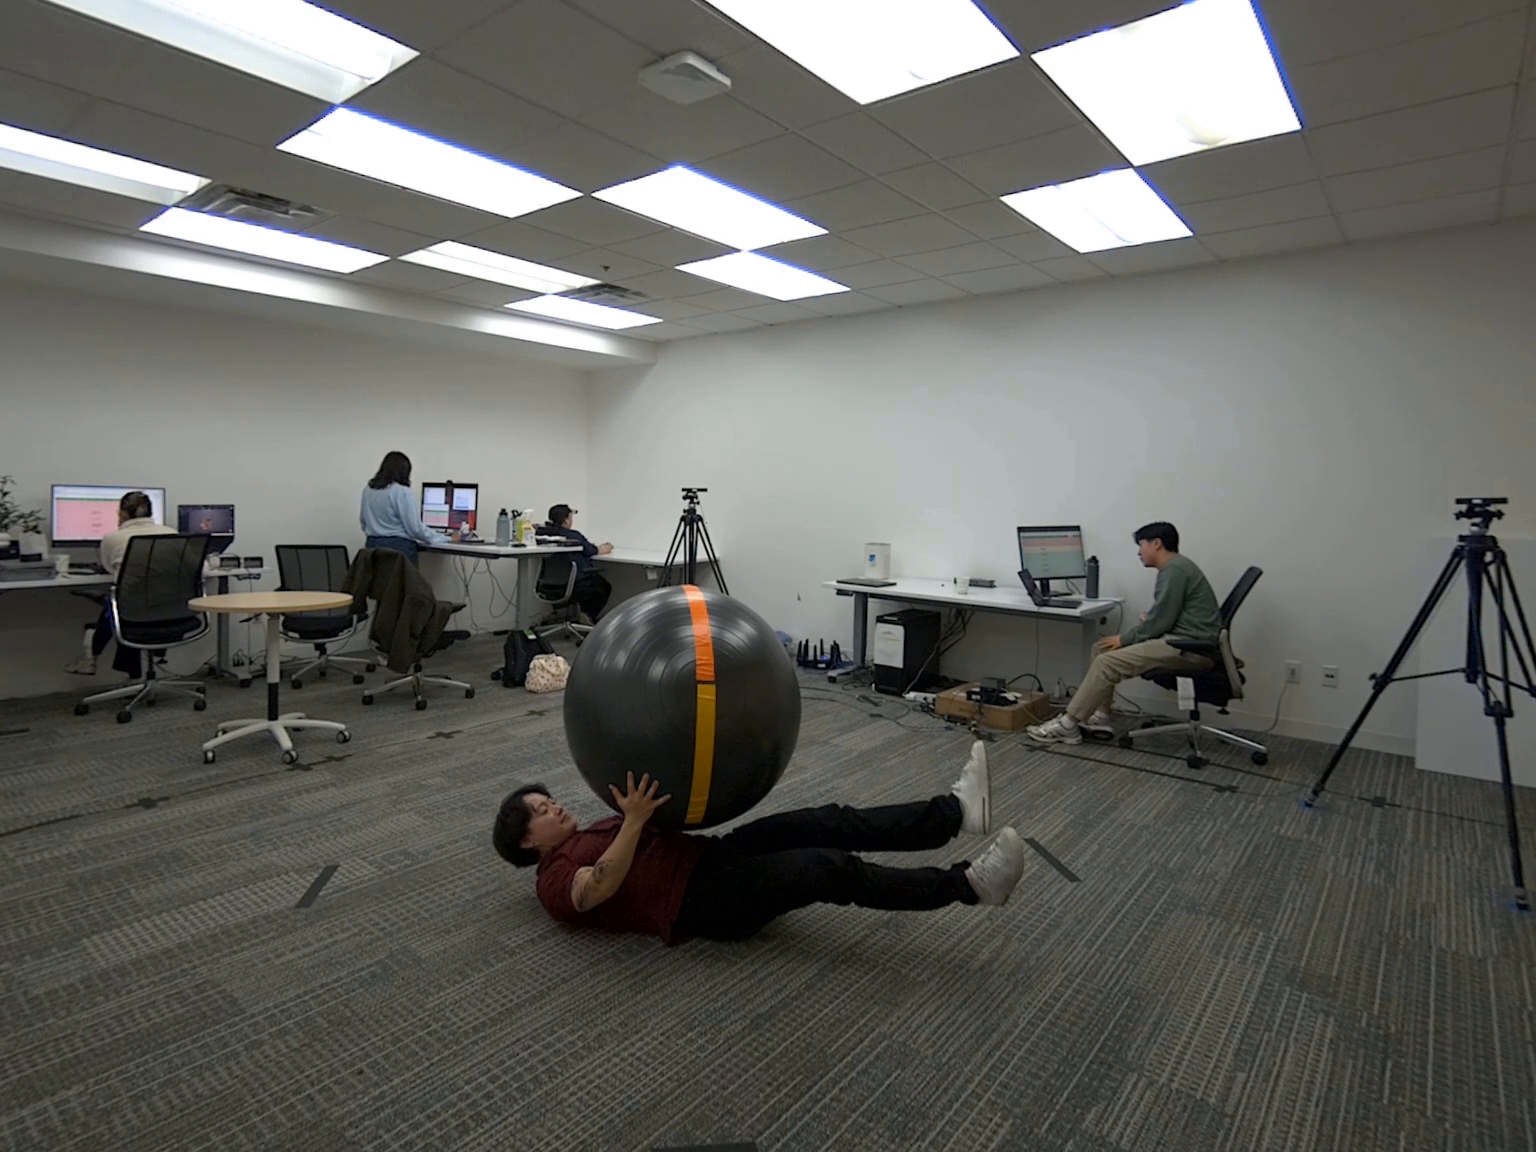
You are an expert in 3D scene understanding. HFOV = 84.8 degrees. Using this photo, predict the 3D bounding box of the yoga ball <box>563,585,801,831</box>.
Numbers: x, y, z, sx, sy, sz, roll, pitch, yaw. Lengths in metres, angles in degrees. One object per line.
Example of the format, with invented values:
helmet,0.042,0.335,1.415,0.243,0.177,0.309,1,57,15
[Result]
yoga ball,-0.278,0.411,2.717,0.757,0.755,0.762,1,4,-2
